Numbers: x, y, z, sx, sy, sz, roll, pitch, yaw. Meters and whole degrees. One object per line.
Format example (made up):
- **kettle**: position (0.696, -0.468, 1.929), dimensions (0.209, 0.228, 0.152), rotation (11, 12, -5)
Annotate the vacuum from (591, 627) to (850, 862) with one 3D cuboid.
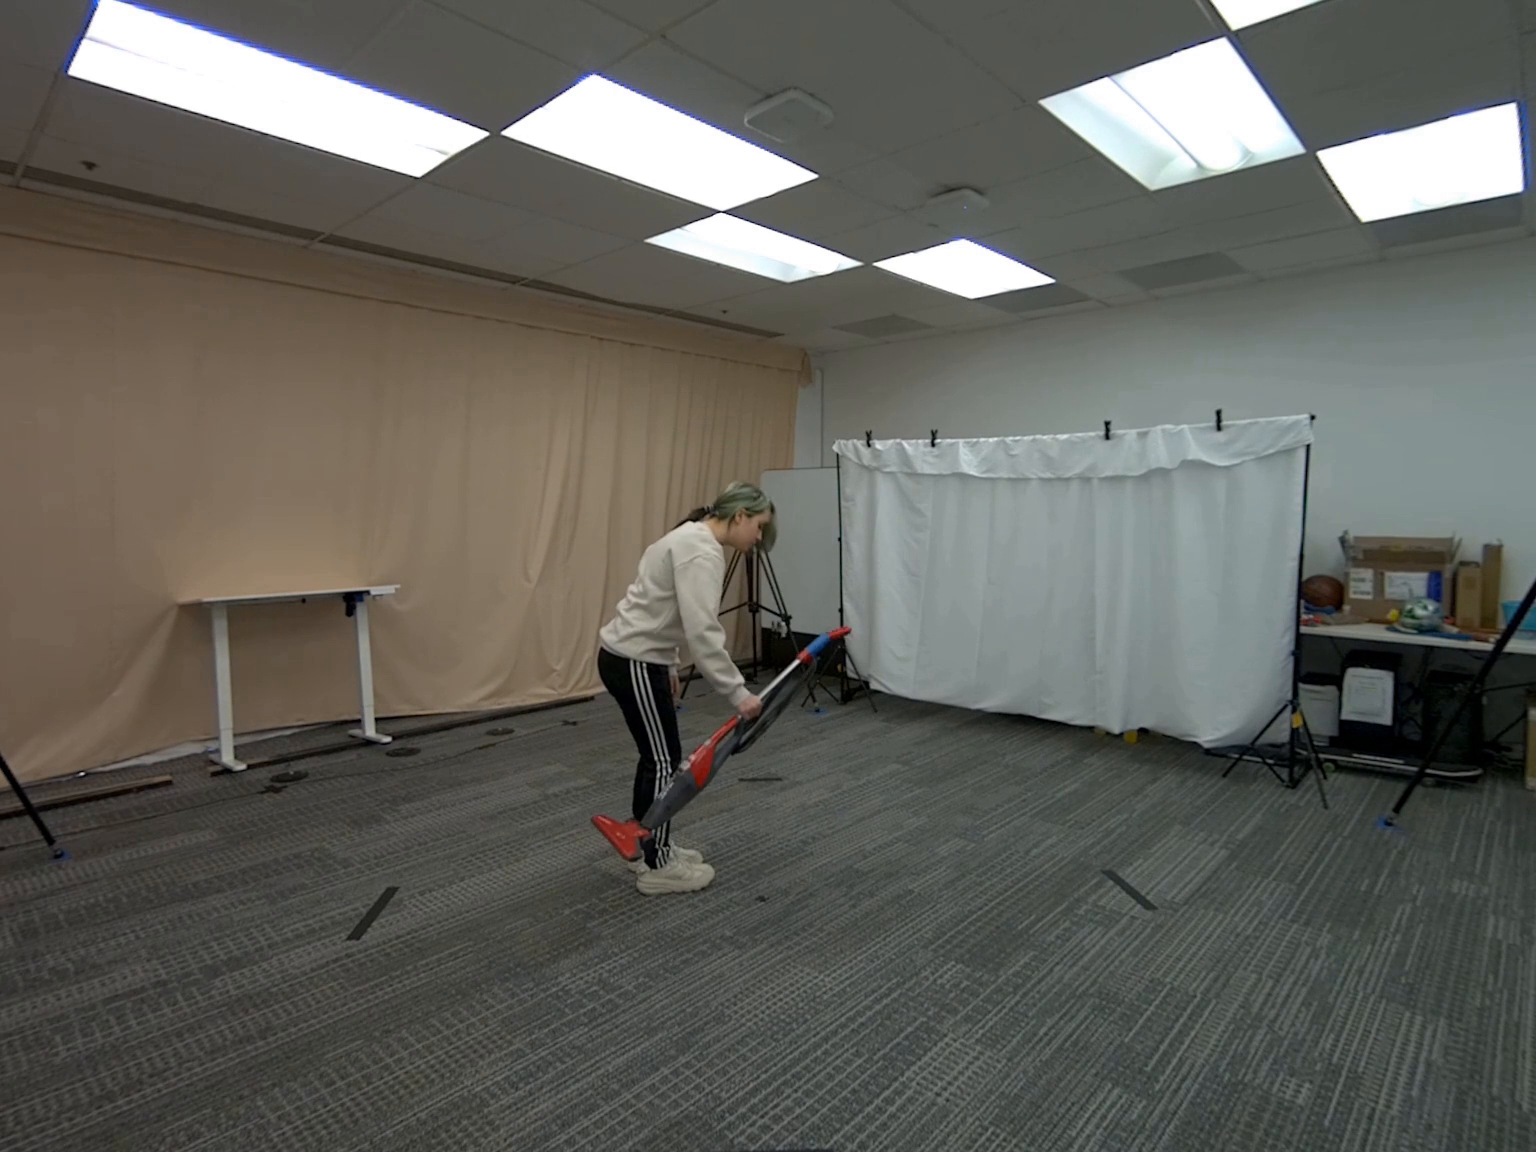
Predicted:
- **vacuum**: position (-0.076, 0.525, 2.845), dimensions (1.041, 0.140, 0.262), rotation (-41, 41, -21)
